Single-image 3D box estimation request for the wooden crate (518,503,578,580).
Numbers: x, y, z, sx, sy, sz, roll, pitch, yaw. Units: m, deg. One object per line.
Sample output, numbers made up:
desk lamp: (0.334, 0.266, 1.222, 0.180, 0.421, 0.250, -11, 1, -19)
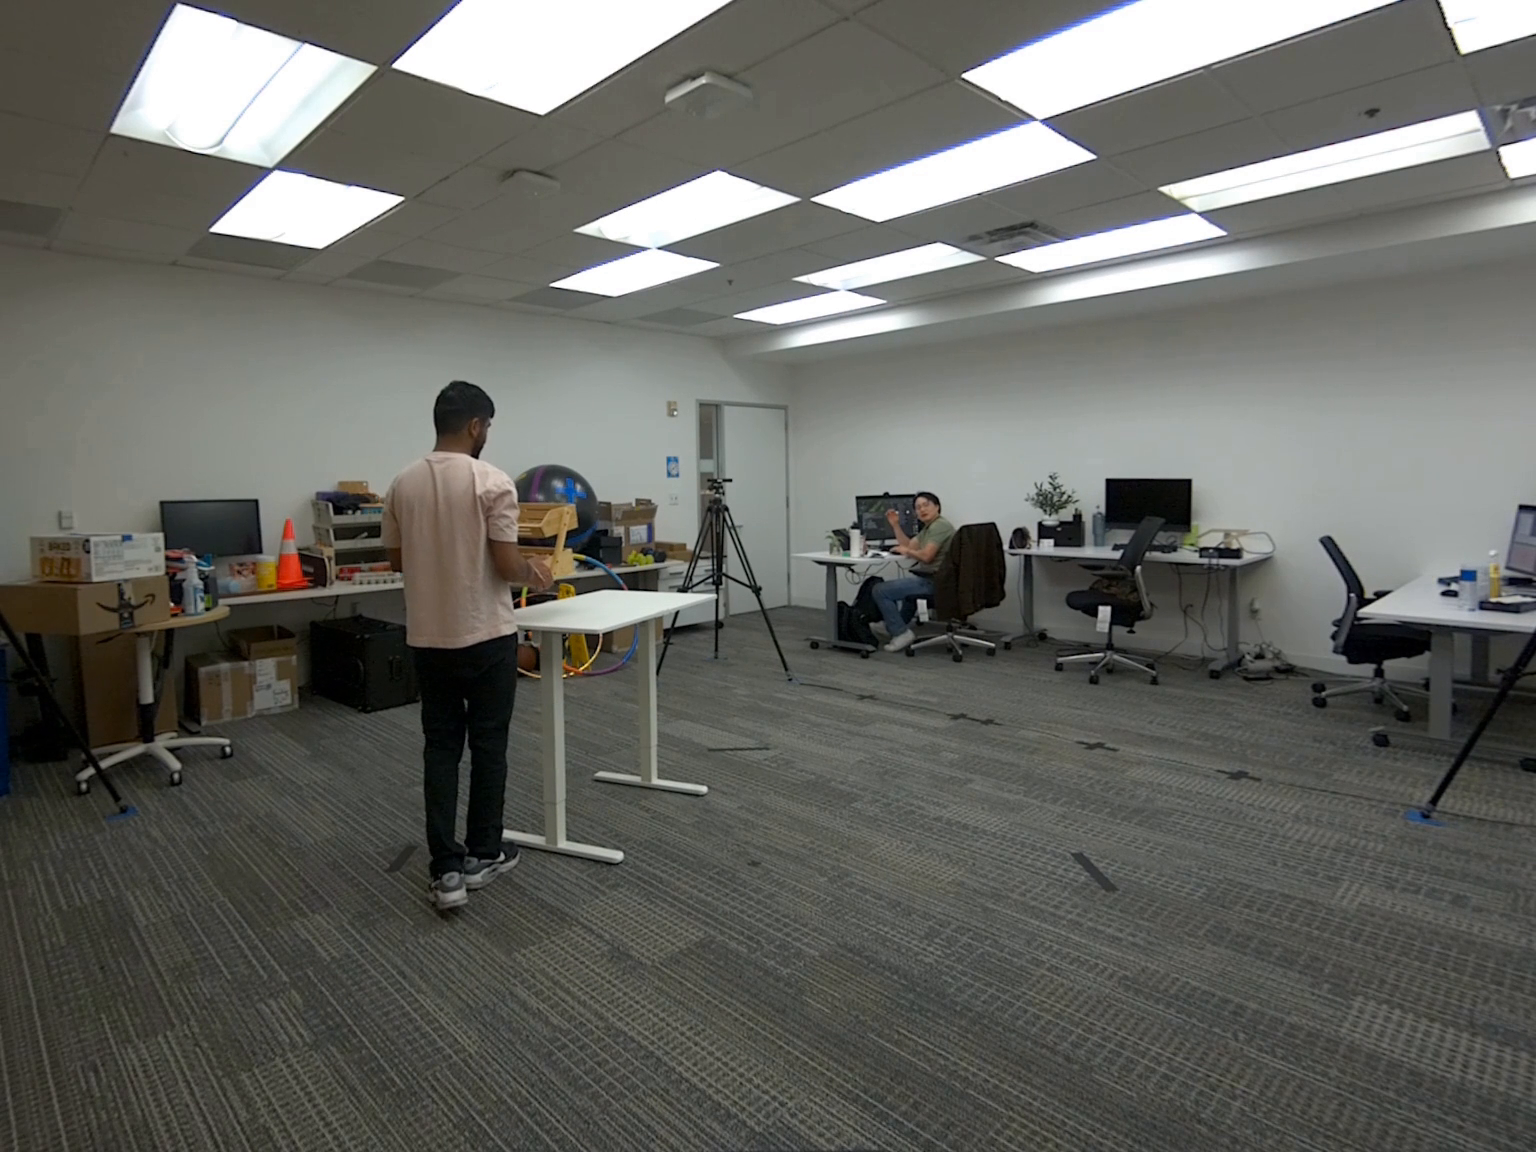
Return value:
wooden crate: (-0.939, -0.127, 3.281, 0.332, 0.270, 0.298, 3, 14, 27)
